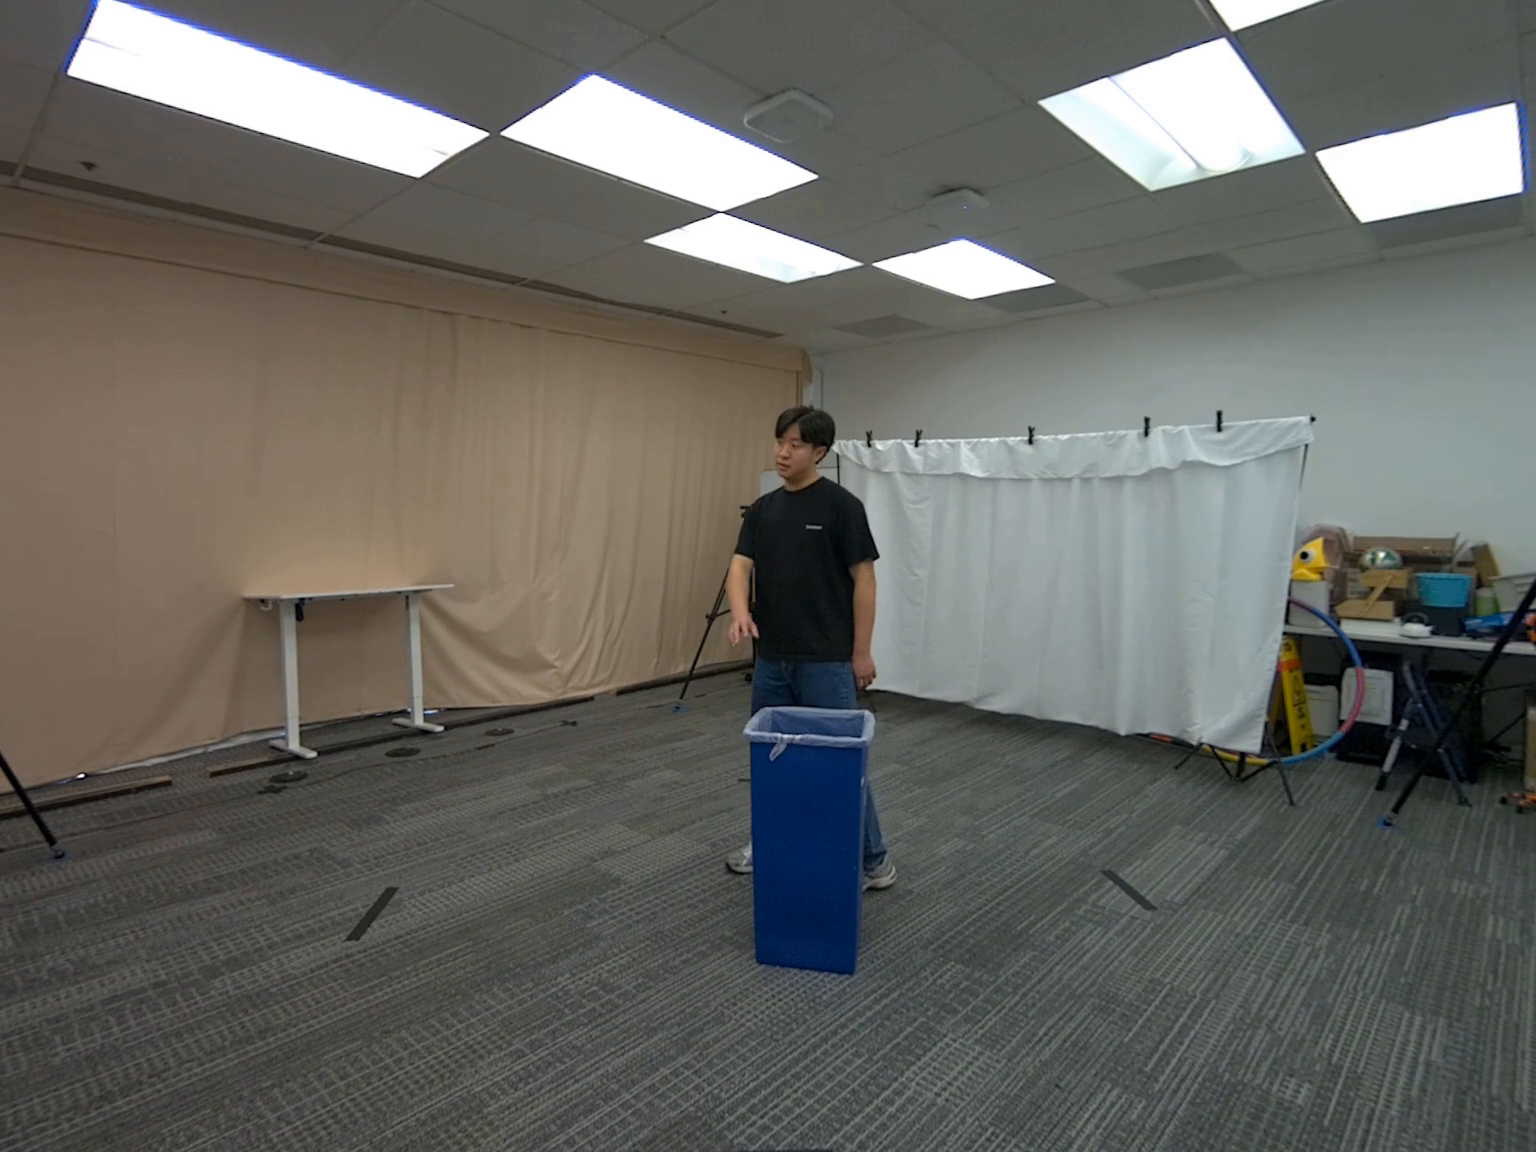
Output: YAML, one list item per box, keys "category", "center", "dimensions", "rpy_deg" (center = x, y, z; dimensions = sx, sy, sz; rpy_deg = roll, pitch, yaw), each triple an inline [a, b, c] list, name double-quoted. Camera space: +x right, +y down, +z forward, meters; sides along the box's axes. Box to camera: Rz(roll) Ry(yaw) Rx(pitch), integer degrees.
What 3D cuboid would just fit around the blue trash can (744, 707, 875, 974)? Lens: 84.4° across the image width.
- category: "blue trash can"
  center: [0.139, 0.810, 2.653]
  dimensions: [0.383, 0.713, 0.369]
  rpy_deg: [0, 2, 12]
